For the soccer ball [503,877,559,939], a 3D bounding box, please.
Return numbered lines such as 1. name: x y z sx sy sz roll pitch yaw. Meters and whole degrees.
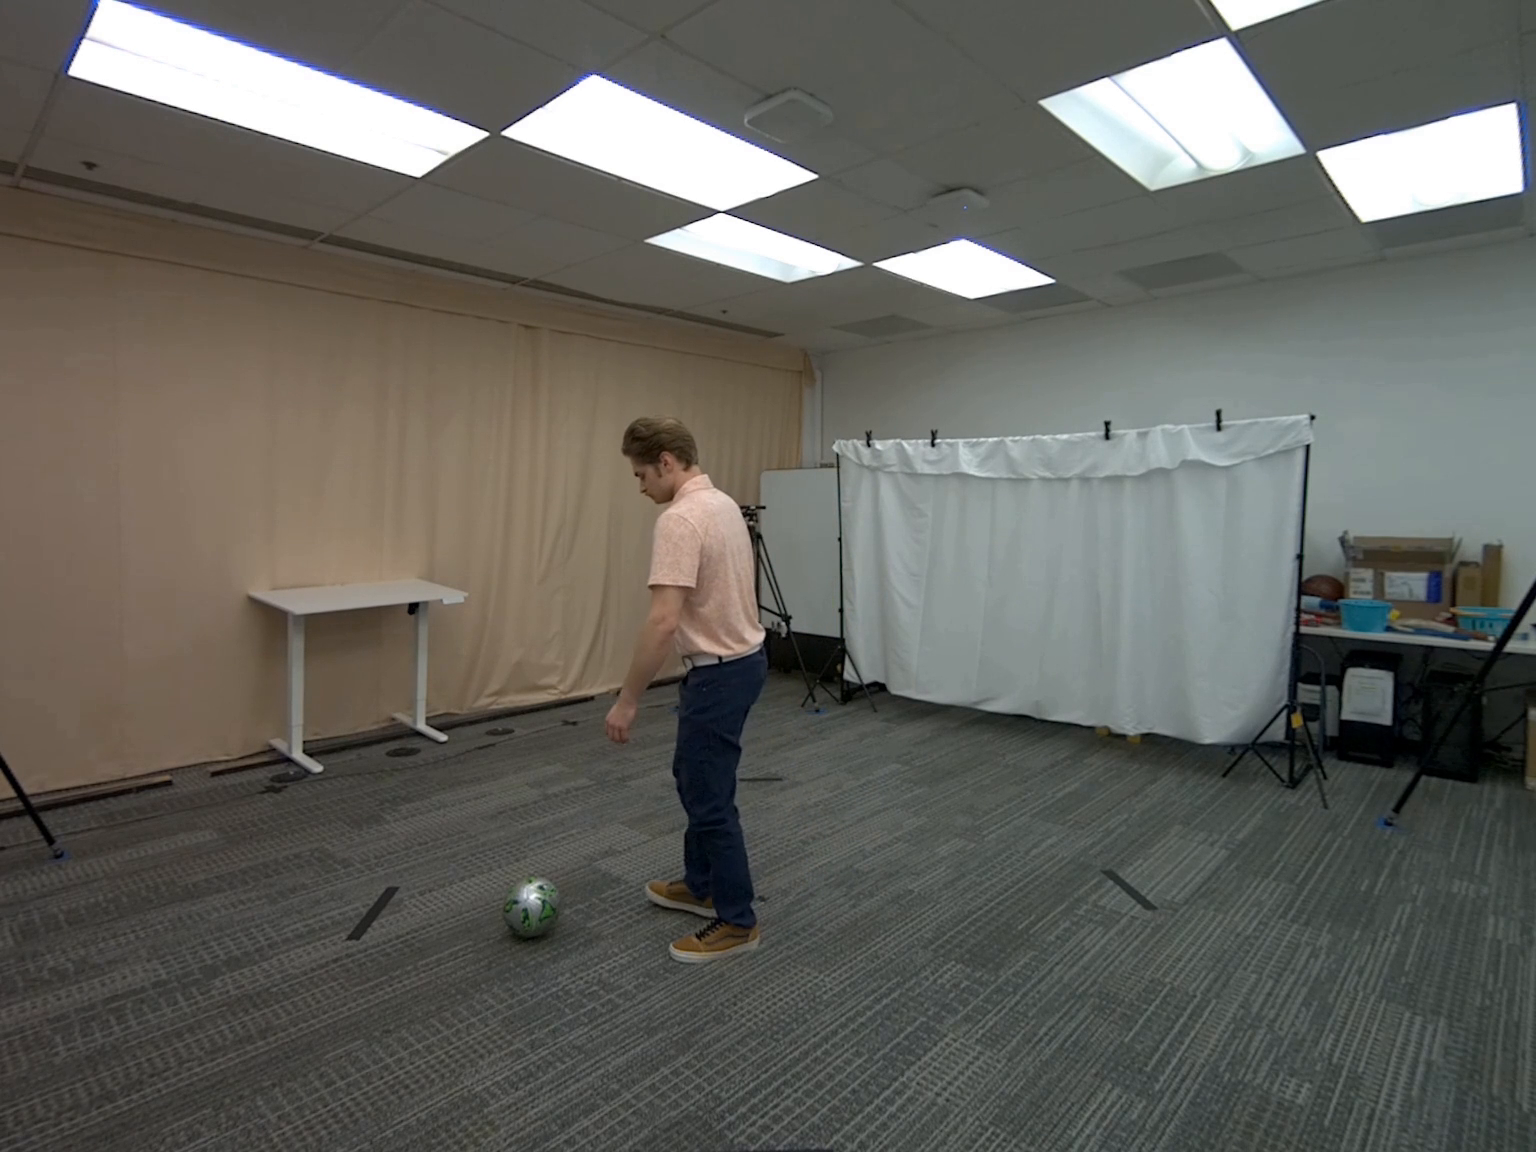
1. soccer ball: -0.774 1.082 2.739 0.187 0.187 0.188 0 4 -2
